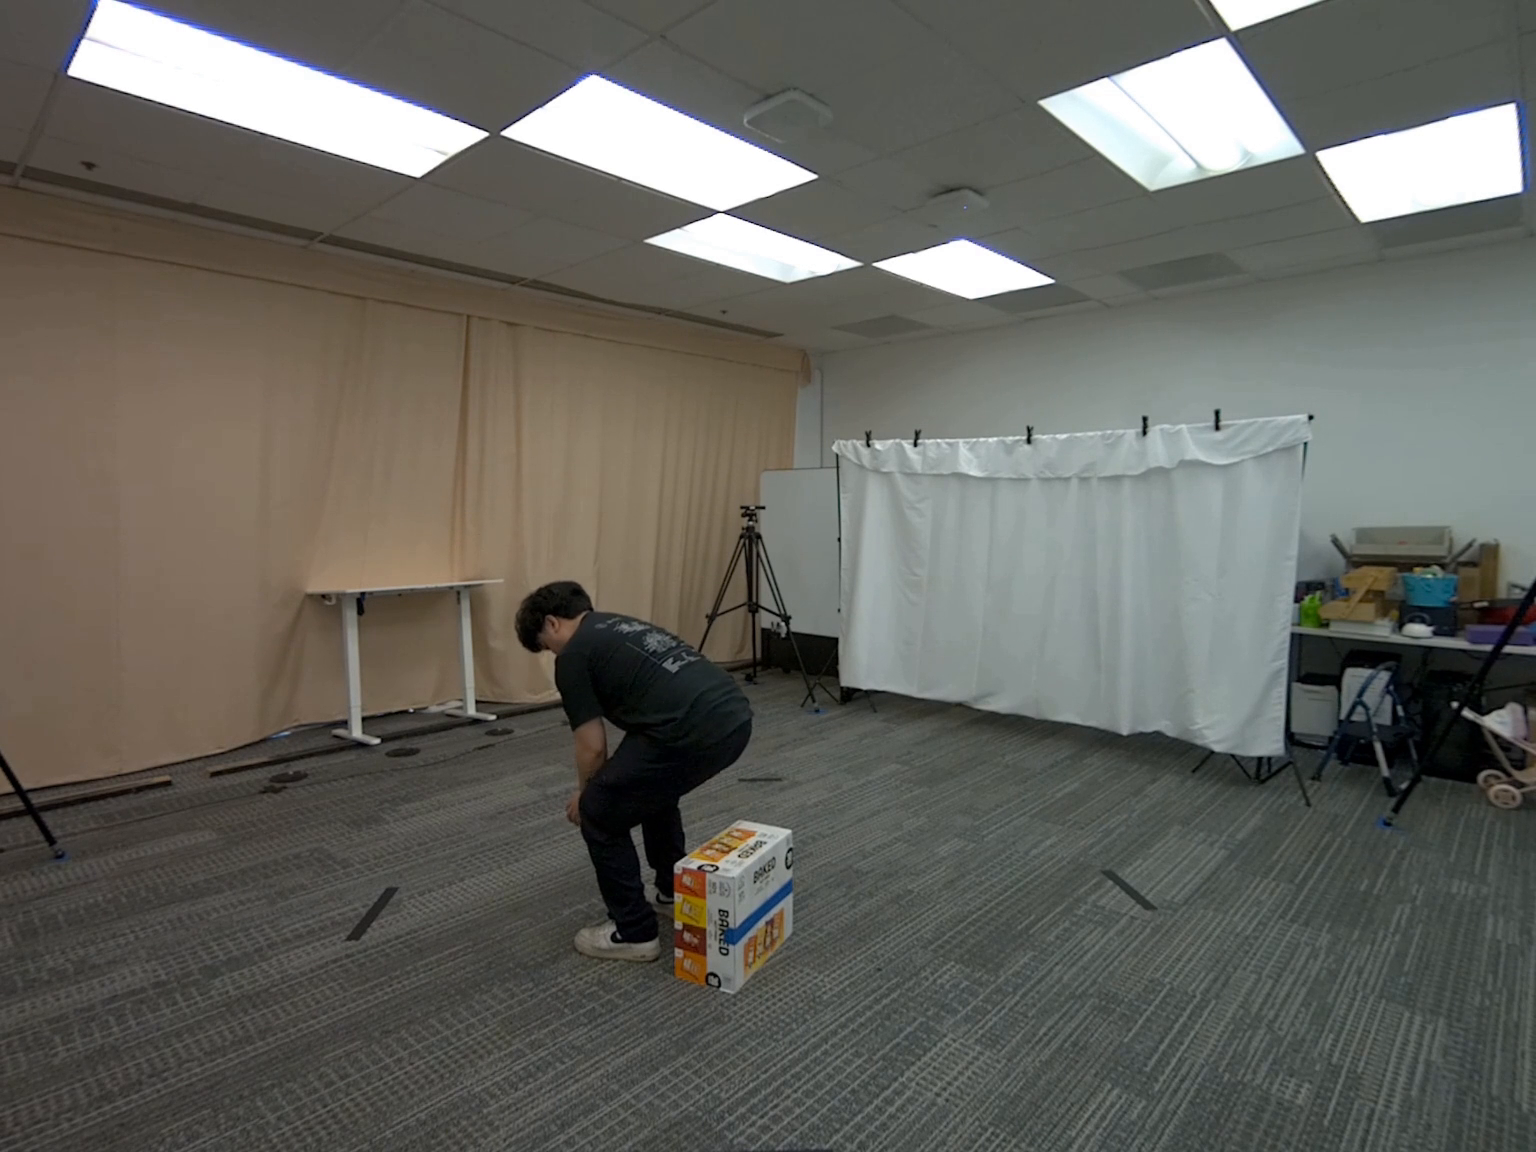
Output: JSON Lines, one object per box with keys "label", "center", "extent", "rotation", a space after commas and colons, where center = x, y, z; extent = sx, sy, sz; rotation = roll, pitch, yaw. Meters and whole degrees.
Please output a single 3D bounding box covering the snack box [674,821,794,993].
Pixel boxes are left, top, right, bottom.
{"label": "snack box", "center": [-0.096, 1.004, 2.613], "extent": [0.211, 0.340, 0.395], "rotation": [1, 4, 27]}
